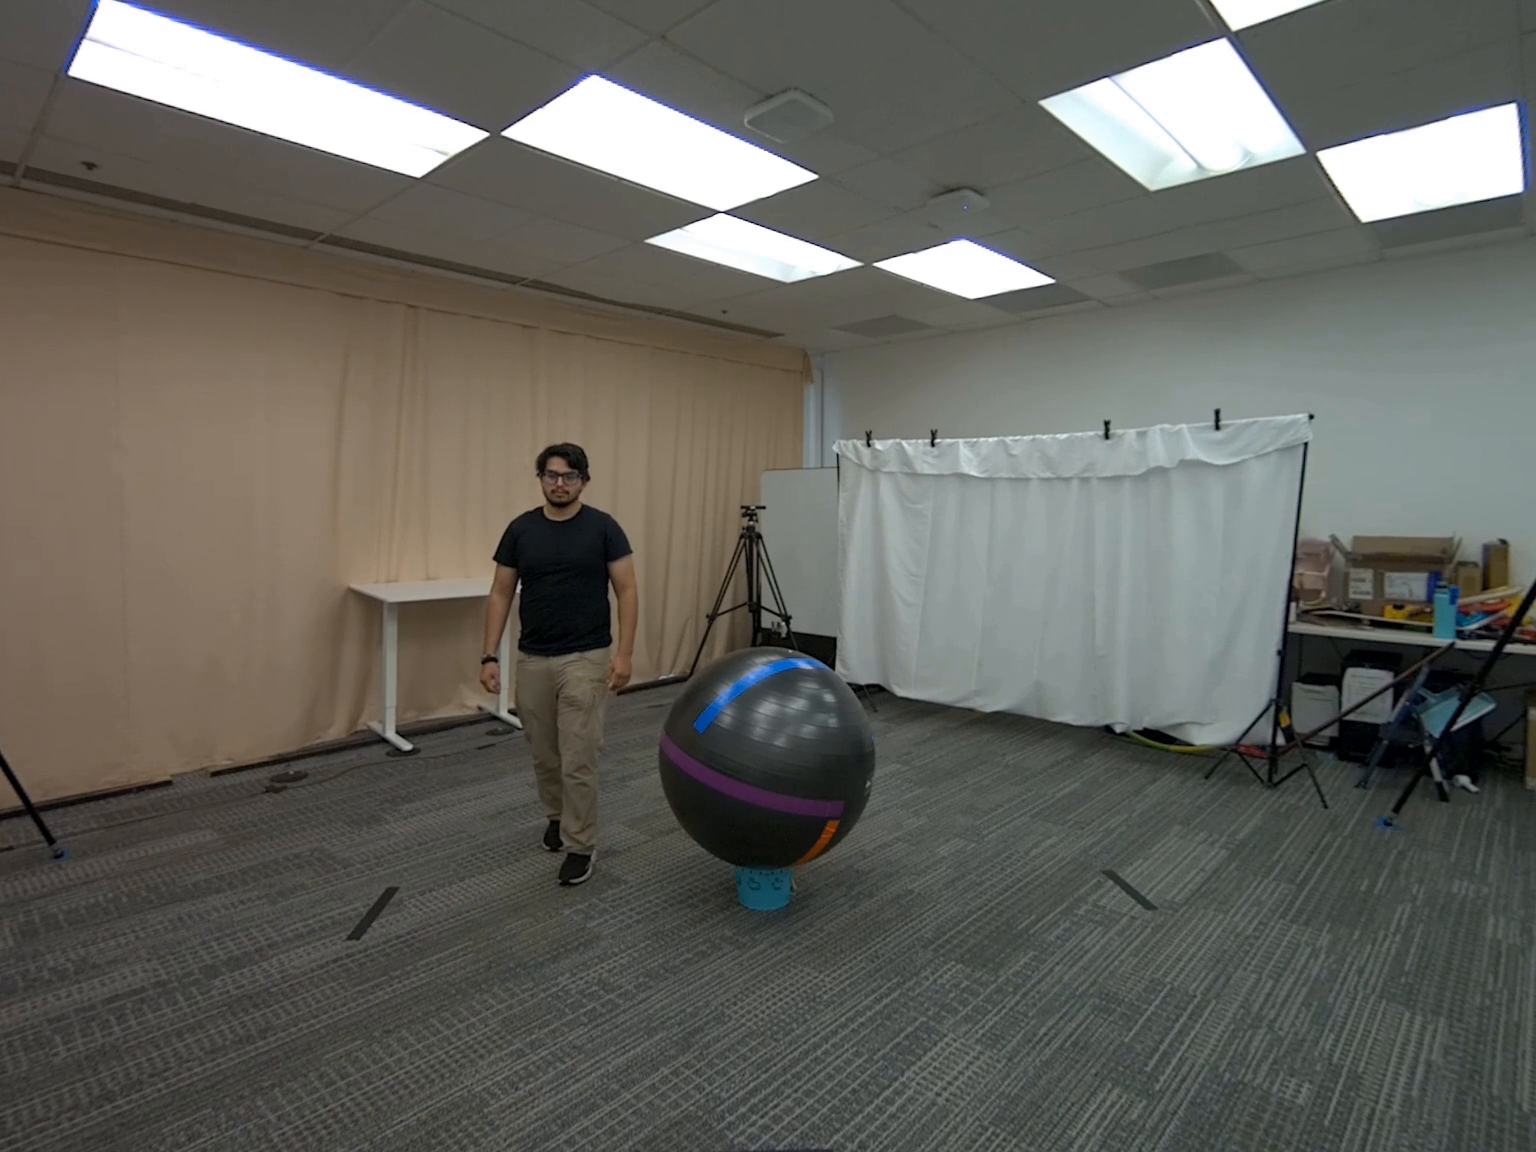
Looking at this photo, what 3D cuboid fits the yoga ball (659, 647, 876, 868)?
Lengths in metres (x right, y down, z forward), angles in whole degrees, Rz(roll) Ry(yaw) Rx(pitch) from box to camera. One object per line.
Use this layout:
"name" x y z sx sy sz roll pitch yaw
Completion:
"yoga ball" 0.006 0.637 2.961 0.757 0.756 0.760 0 4 -2
